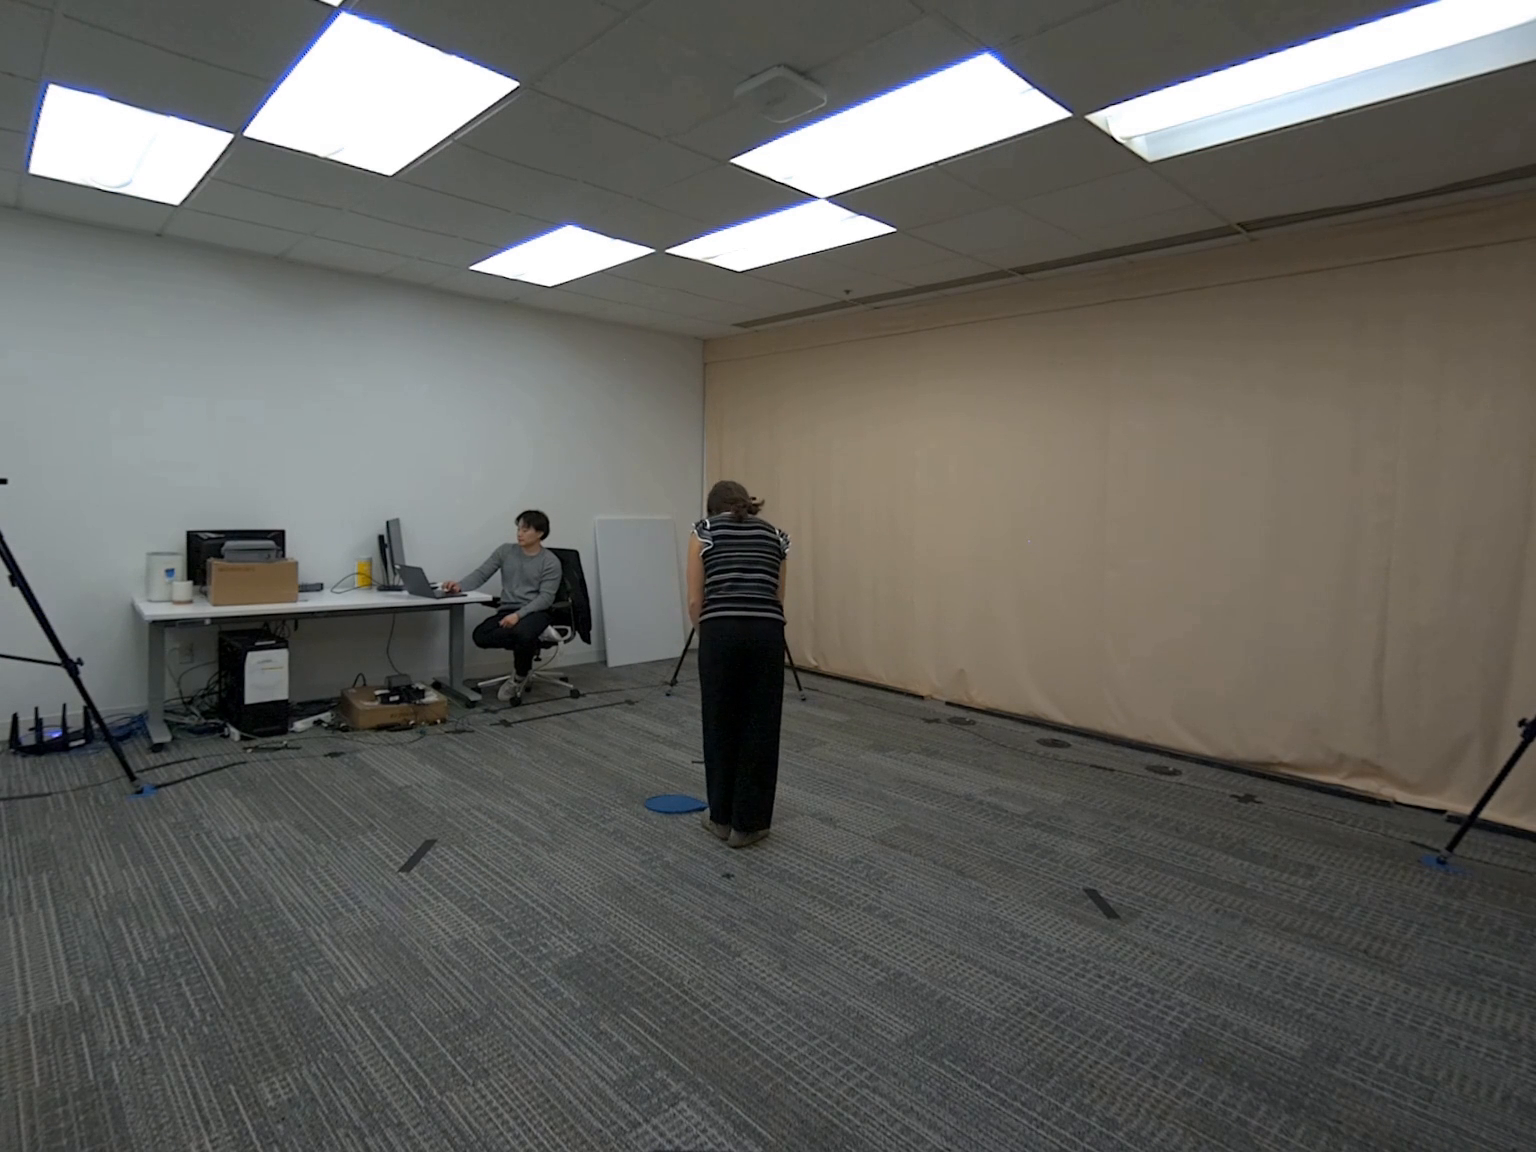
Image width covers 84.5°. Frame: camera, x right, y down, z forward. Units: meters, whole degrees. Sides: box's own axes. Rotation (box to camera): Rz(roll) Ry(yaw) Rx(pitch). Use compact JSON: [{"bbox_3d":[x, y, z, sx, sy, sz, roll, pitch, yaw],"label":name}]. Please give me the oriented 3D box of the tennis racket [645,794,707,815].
[{"bbox_3d":[-0.352,1.029,3.784,0.437,0.031,0.212,1,5,11],"label":"tennis racket"}]
